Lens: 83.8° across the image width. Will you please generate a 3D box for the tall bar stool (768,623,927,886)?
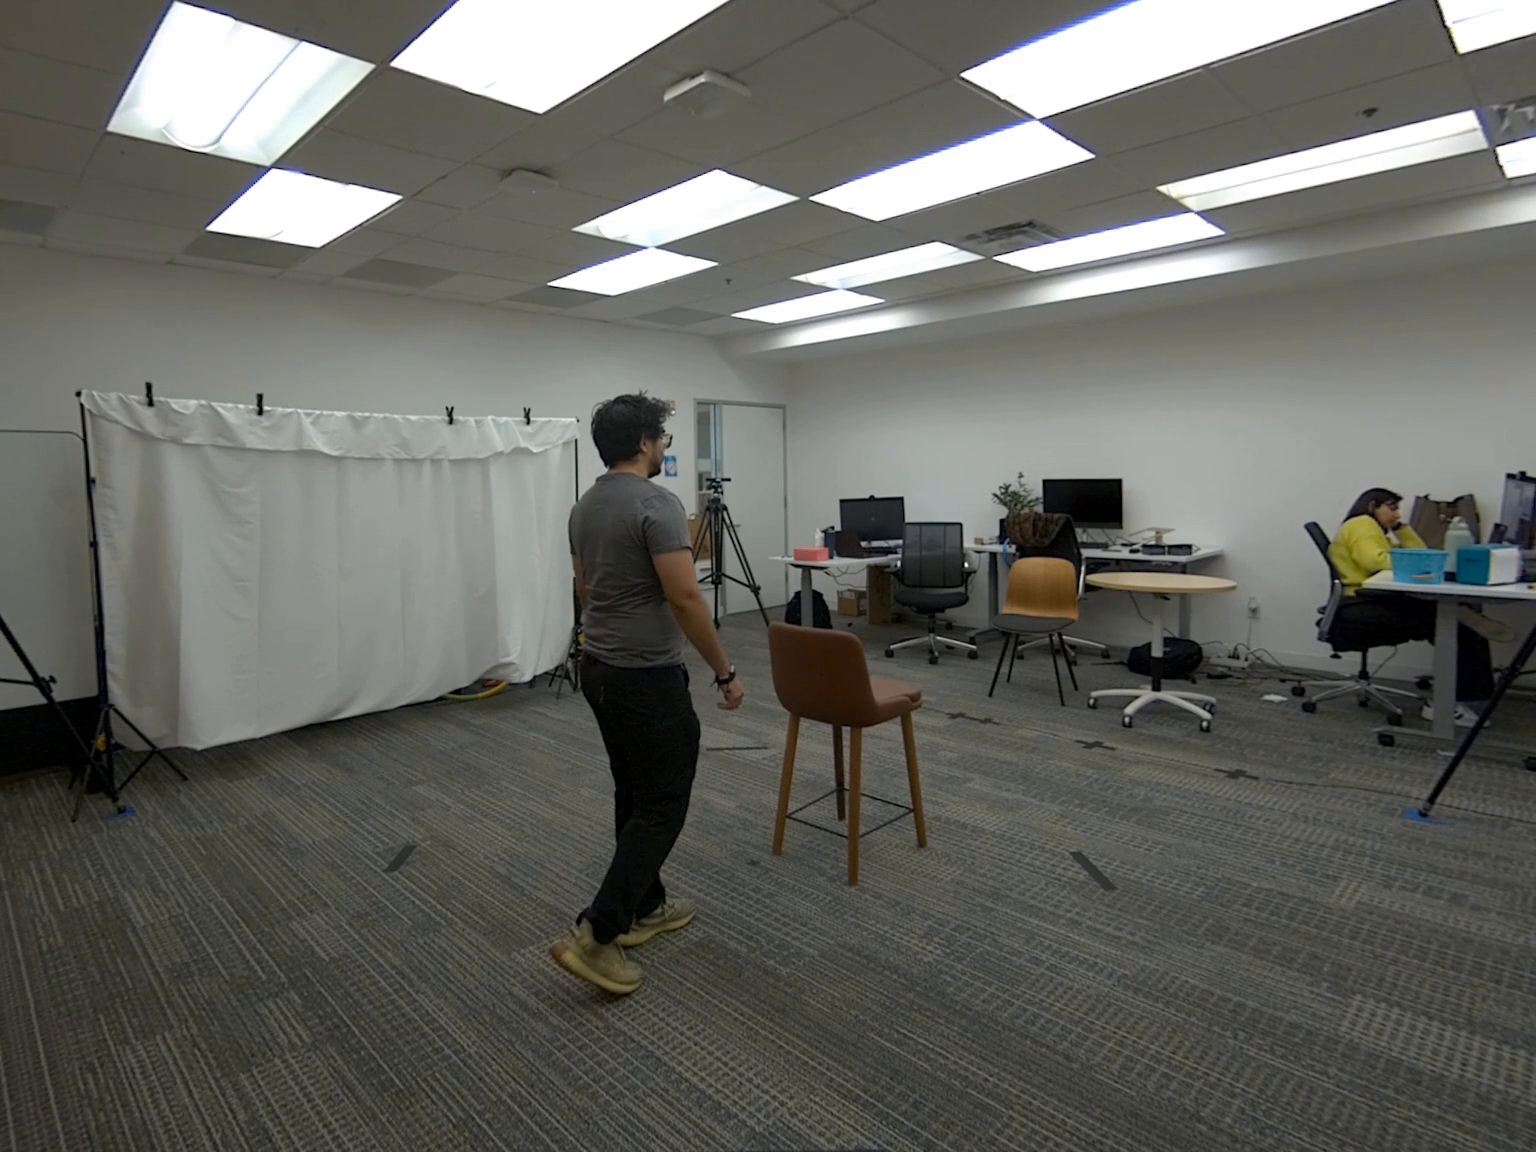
[{"bbox_3d":[0.293,0.593,3.177,0.470,0.885,0.456,3,8,44],"label":"tall bar stool"}]
